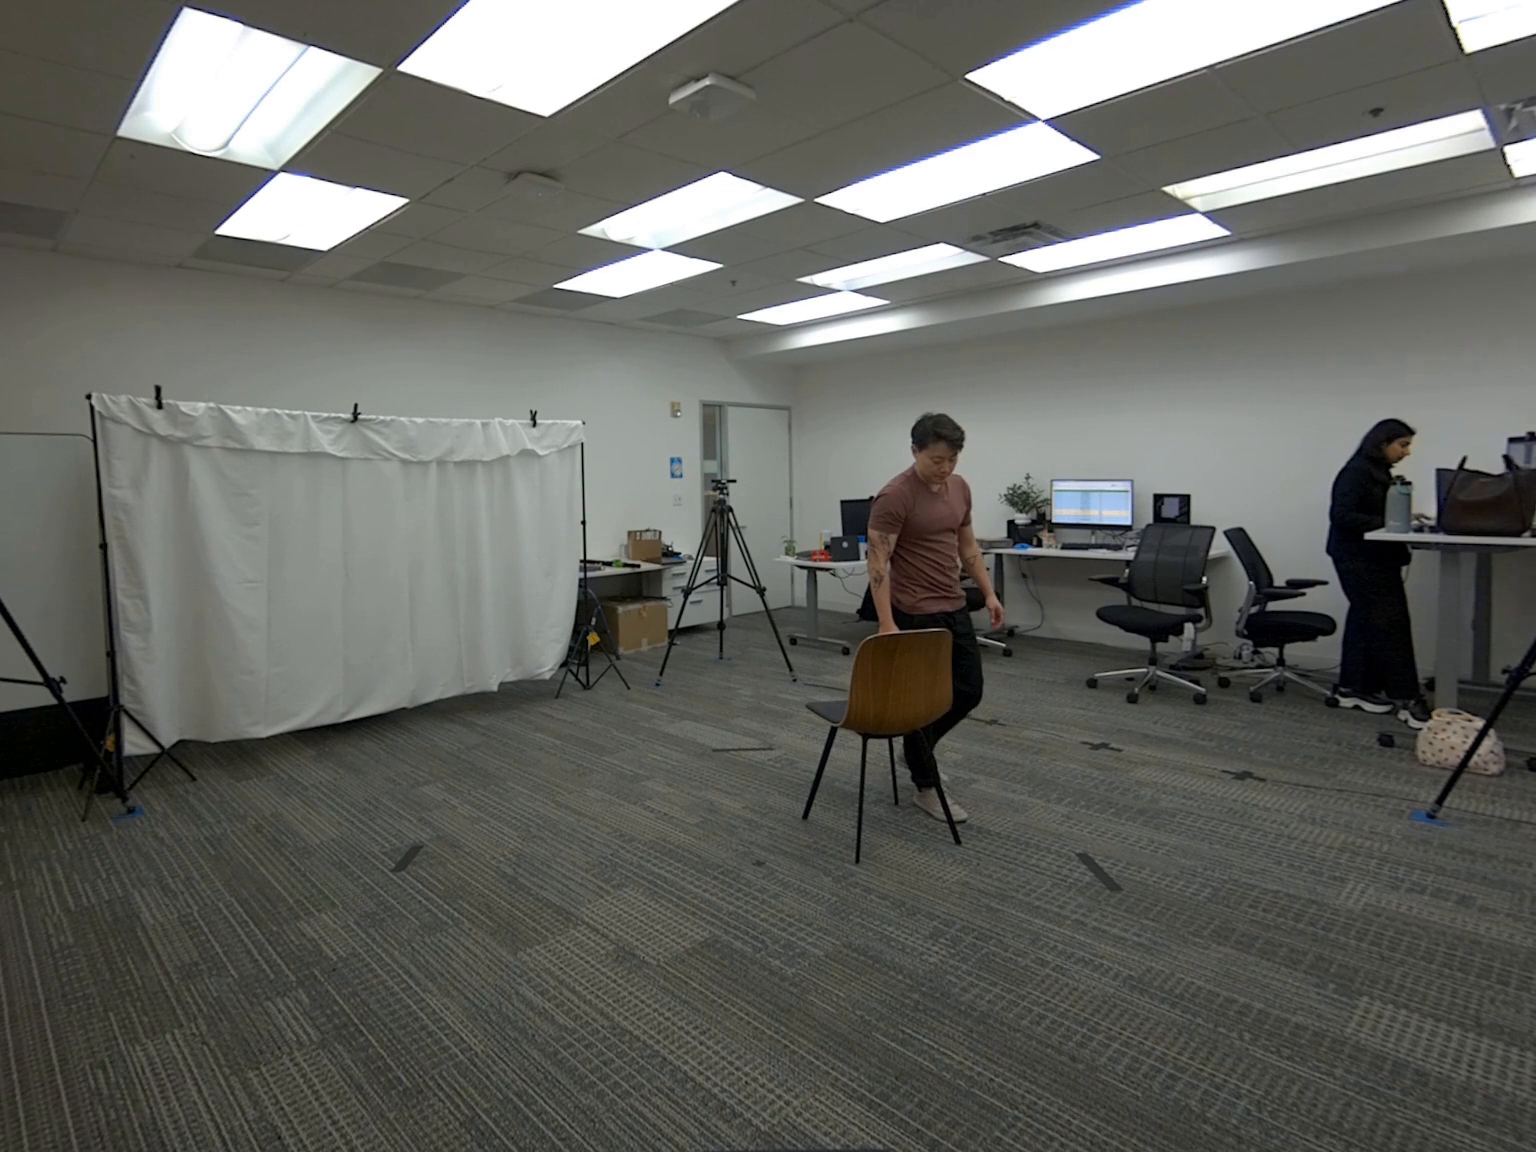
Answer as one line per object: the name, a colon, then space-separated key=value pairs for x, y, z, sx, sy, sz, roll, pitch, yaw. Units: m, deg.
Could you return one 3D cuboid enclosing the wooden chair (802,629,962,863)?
wooden chair: x=0.420 y=0.584 z=3.352 sx=0.469 sy=0.871 sz=0.537 roll=-3 pitch=8 yaw=-22
